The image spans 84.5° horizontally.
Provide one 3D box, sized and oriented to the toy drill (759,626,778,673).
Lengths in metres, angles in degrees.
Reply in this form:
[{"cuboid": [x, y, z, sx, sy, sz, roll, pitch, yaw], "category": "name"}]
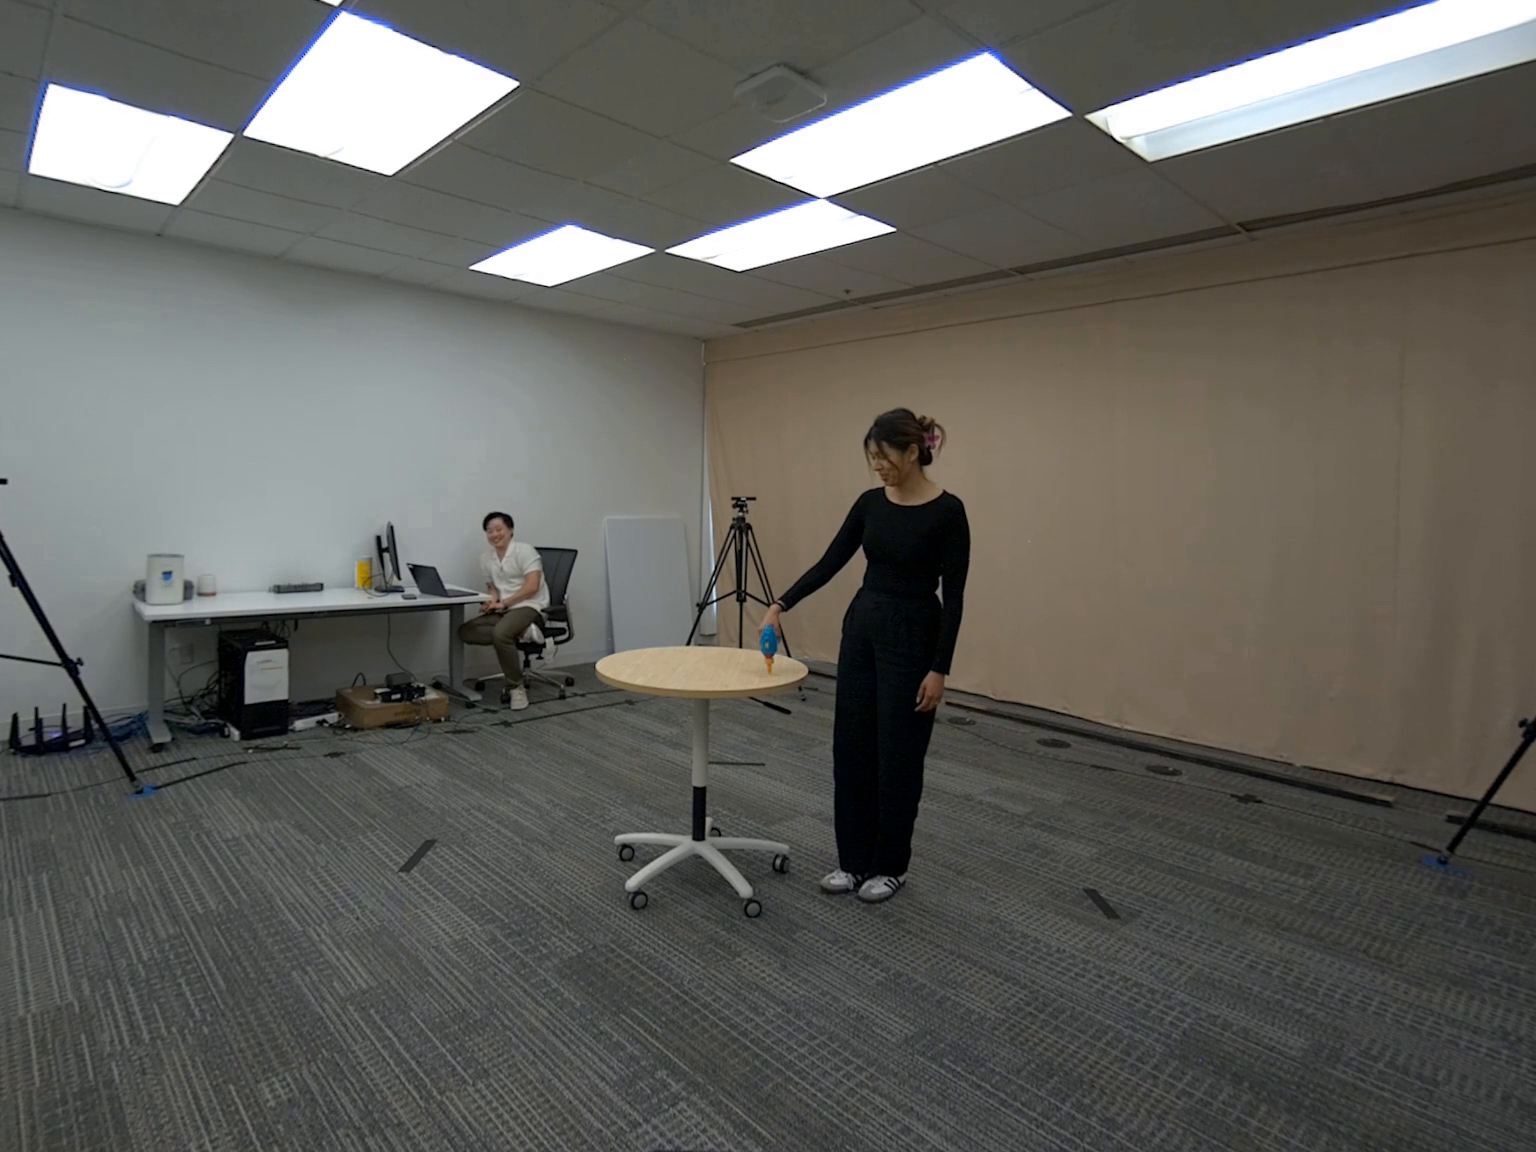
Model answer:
[{"cuboid": [0.005, 0.255, 2.958, 0.062, 0.169, 0.144, 1, 2, 14], "category": "toy drill"}]
